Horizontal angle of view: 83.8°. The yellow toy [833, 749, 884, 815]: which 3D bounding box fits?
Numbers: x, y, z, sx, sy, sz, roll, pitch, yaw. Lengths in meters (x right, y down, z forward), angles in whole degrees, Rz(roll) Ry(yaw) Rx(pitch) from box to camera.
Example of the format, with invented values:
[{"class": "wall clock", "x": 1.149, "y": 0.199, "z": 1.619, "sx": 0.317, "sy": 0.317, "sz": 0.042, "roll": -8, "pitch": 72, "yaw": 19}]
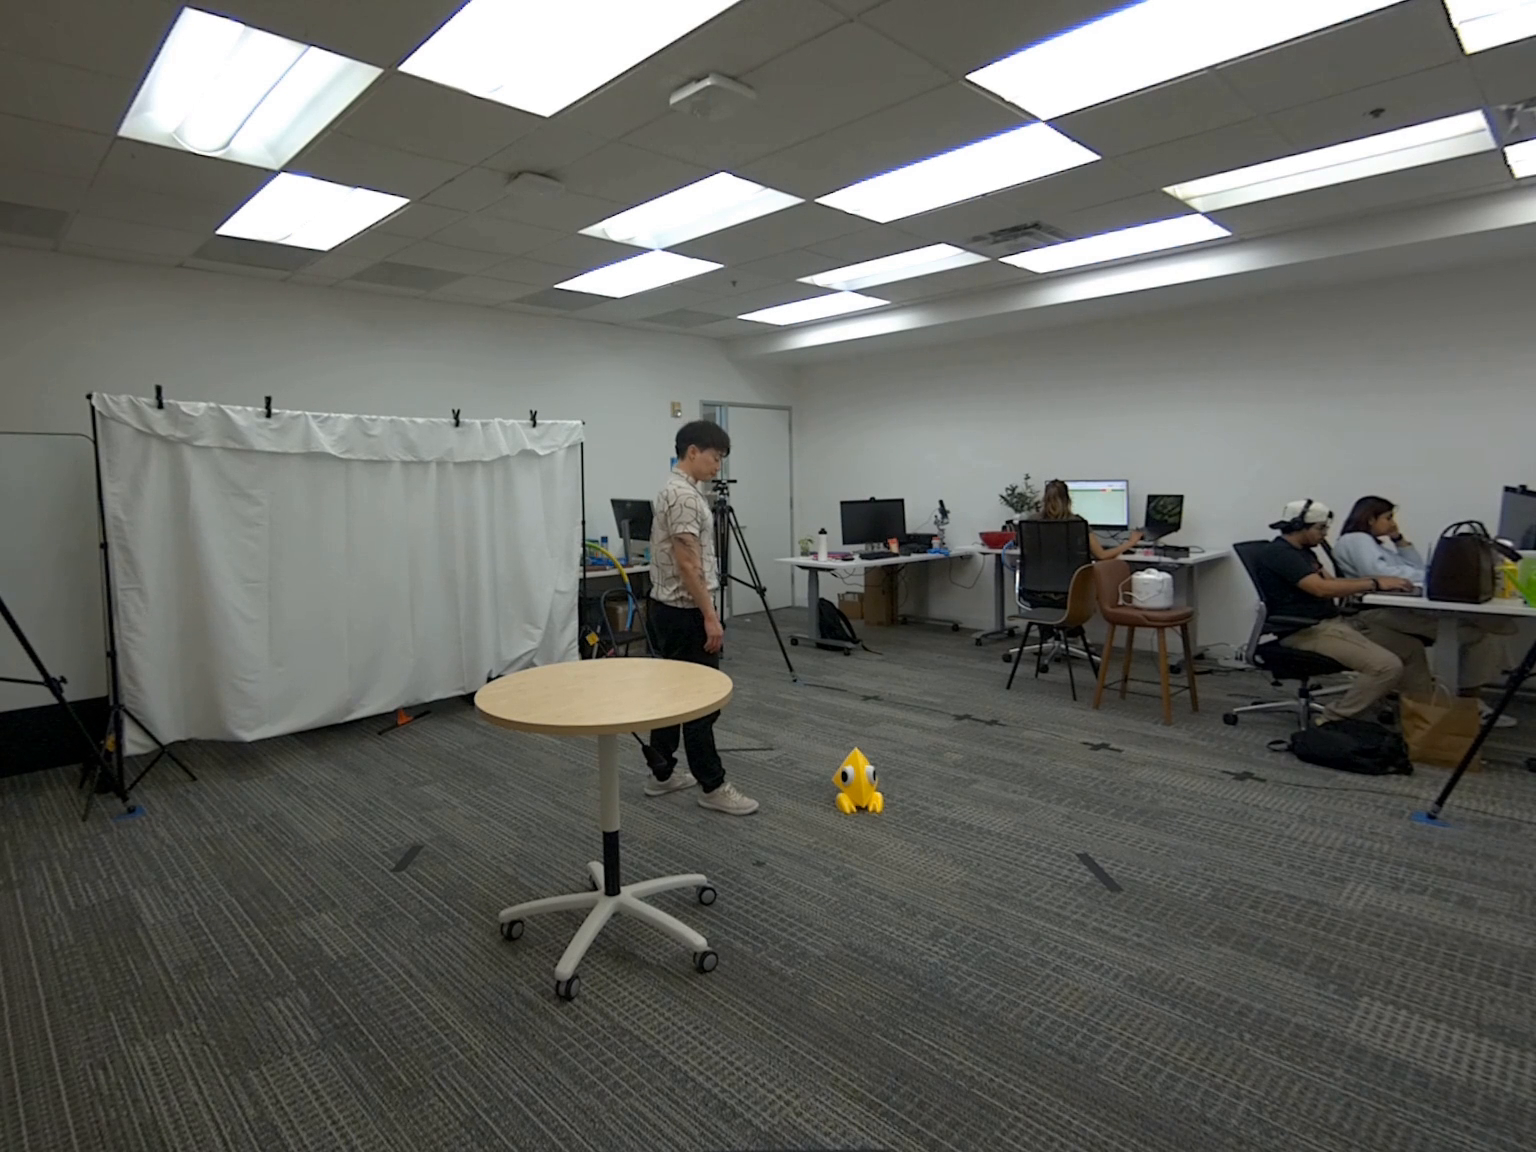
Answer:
[{"class": "yellow toy", "x": 0.395, "y": 0.870, "z": 3.649, "sx": 0.204, "sy": 0.230, "sz": 0.194, "roll": -1, "pitch": 3, "yaw": -3}]
